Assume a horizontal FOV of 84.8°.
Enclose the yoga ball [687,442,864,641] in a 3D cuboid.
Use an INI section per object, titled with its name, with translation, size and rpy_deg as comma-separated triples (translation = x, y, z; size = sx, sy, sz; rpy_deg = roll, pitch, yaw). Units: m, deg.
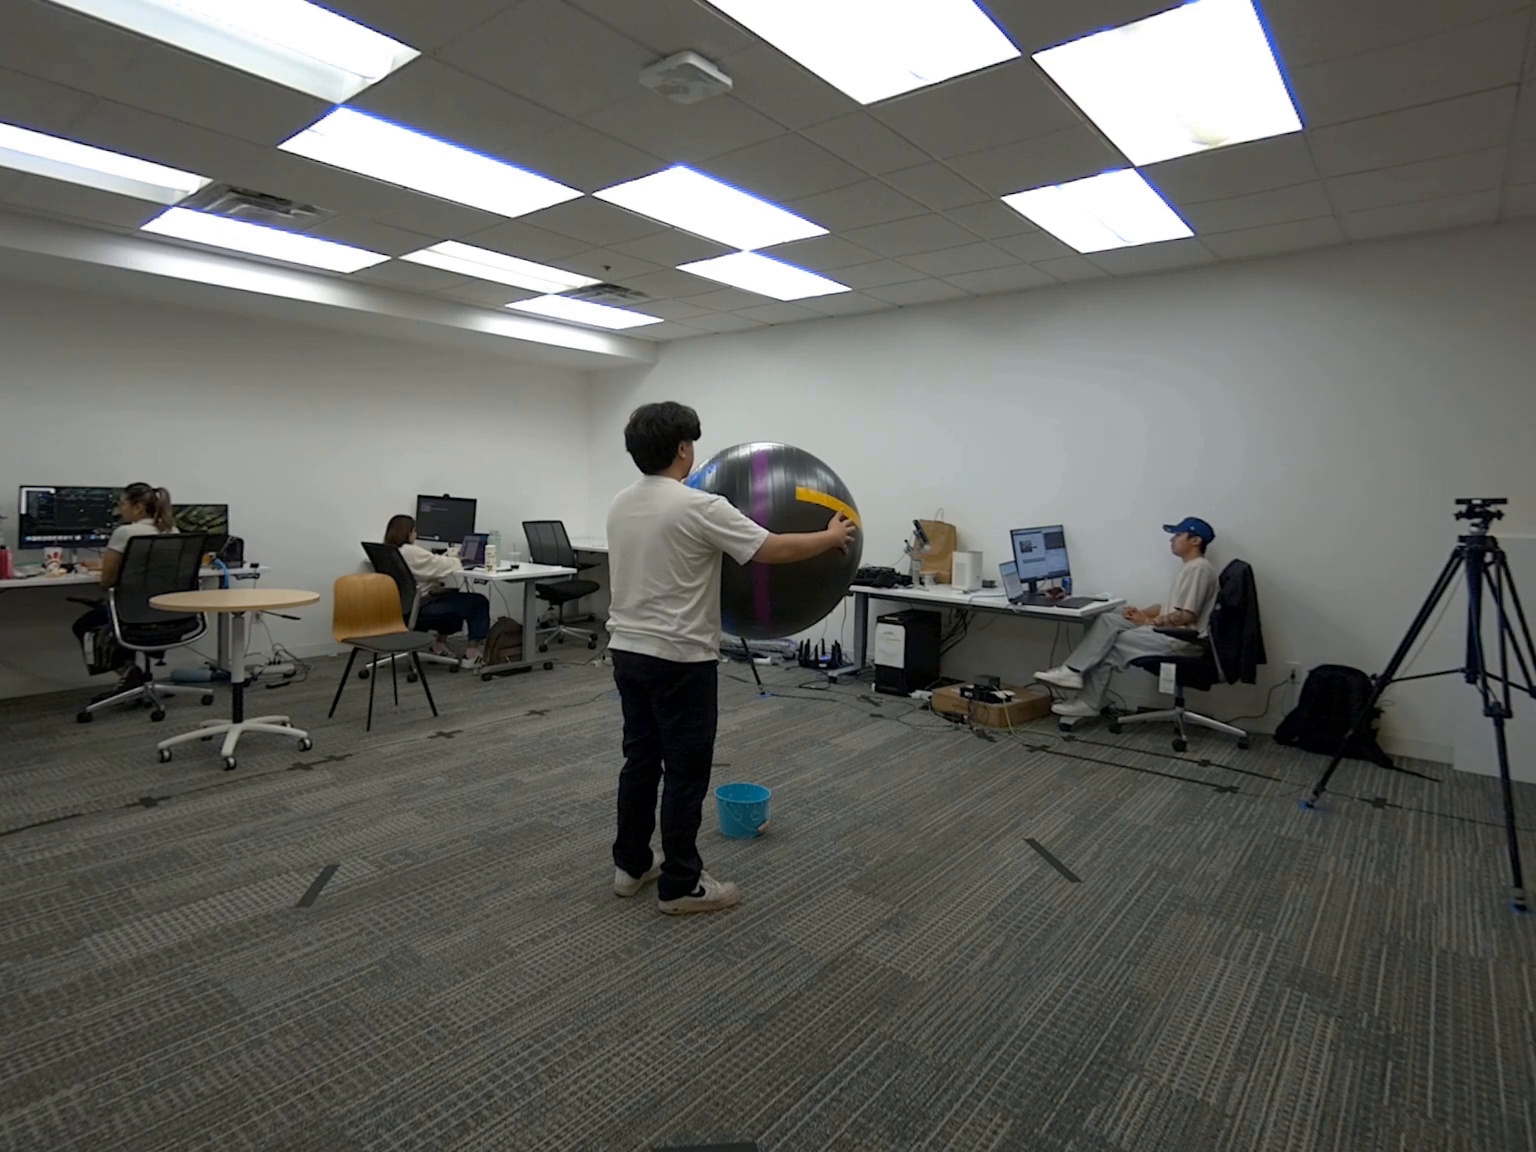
[yoga ball]
translation = -0.025, -0.131, 3.275
size = 0.757, 0.755, 0.762
rpy_deg = 1, 4, -2
